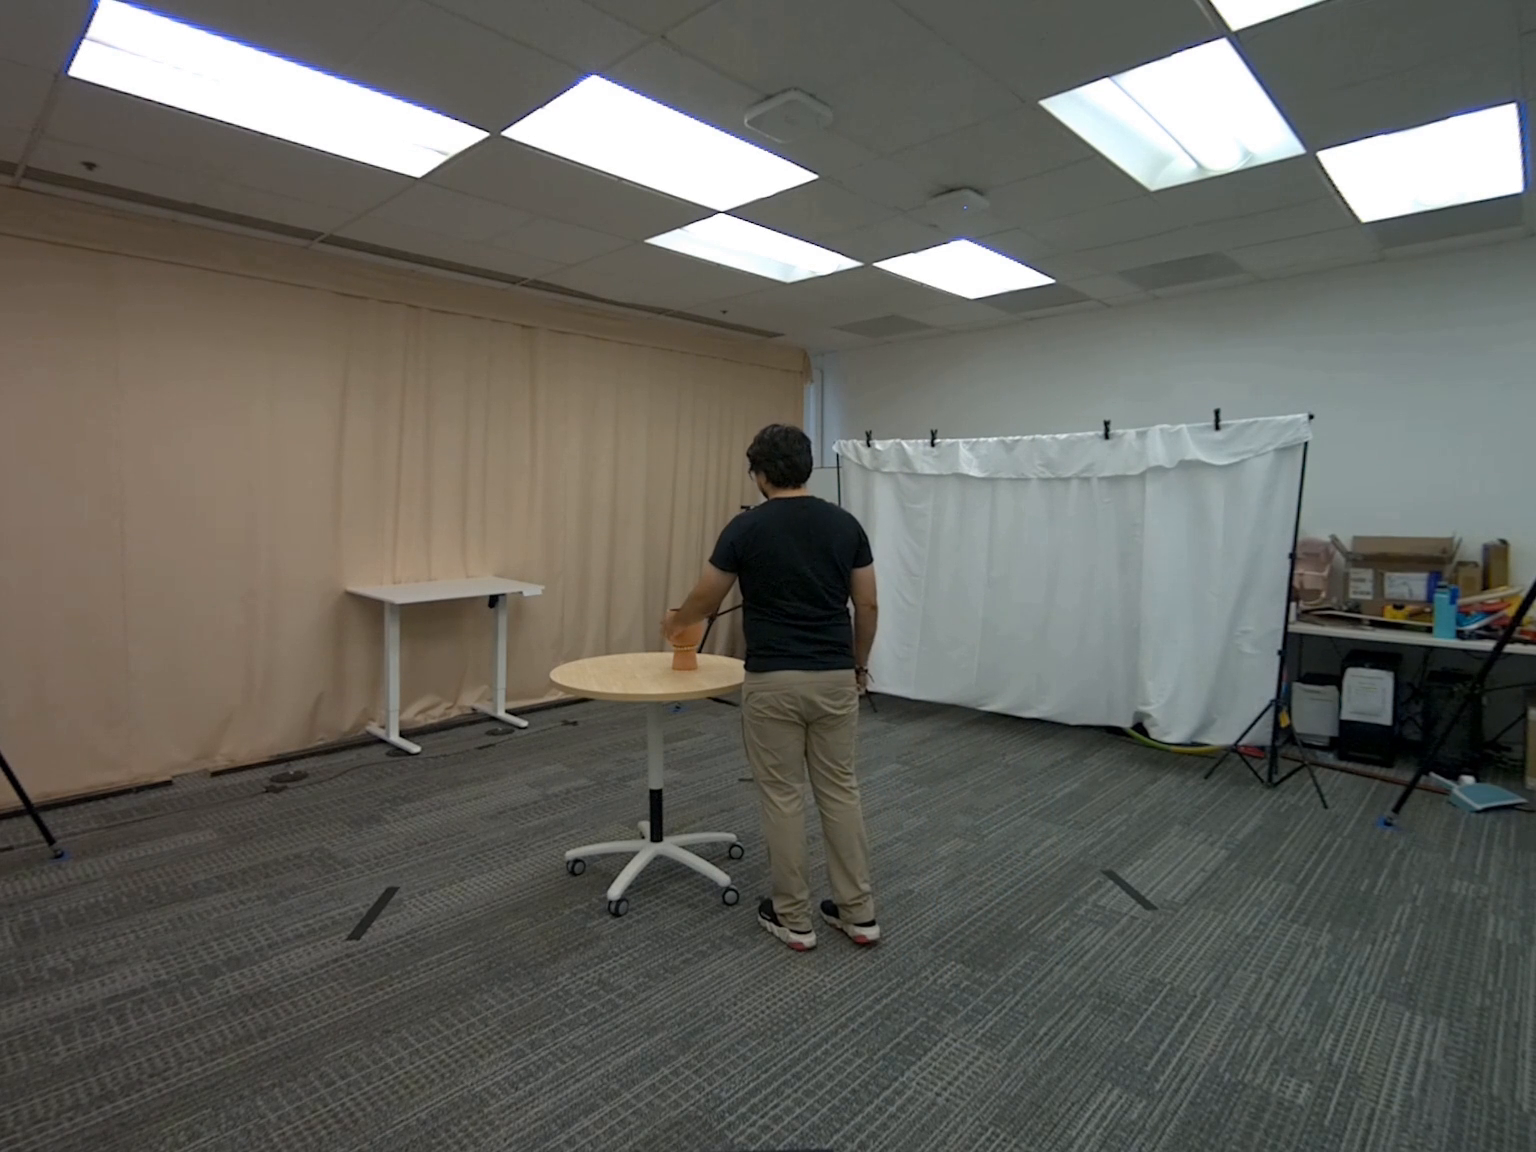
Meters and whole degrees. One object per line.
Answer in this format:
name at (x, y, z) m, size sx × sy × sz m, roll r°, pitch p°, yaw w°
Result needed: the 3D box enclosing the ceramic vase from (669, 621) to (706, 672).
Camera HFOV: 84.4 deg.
ceramic vase at (-0.315, 0.239, 3.165) m, size 0.156 × 0.219 × 0.137 m, roll 0°, pitch 3°, yaw -15°
